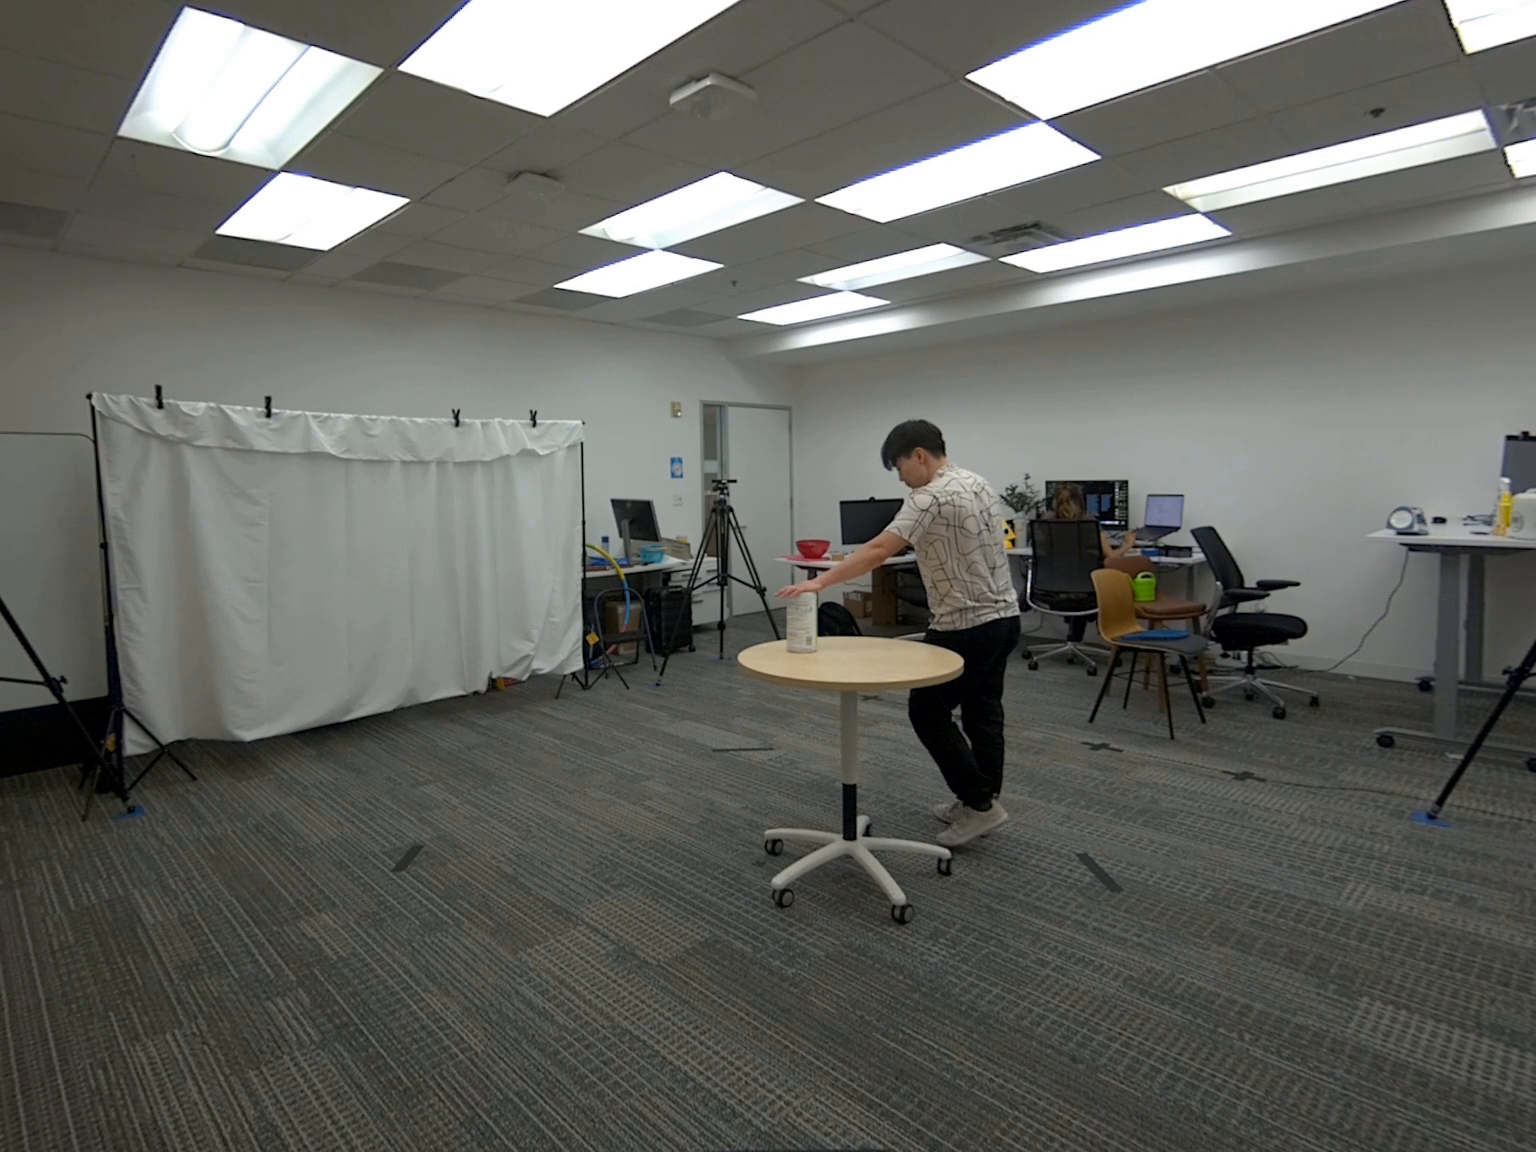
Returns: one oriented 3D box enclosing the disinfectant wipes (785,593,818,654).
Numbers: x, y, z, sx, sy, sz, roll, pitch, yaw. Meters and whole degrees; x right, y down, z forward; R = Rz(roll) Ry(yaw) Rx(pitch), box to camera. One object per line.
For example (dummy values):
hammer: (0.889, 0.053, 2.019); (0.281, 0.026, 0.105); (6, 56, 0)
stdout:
disinfectant wipes: (0.122, 0.165, 3.059); (0.118, 0.217, 0.118); (-1, 2, -2)
